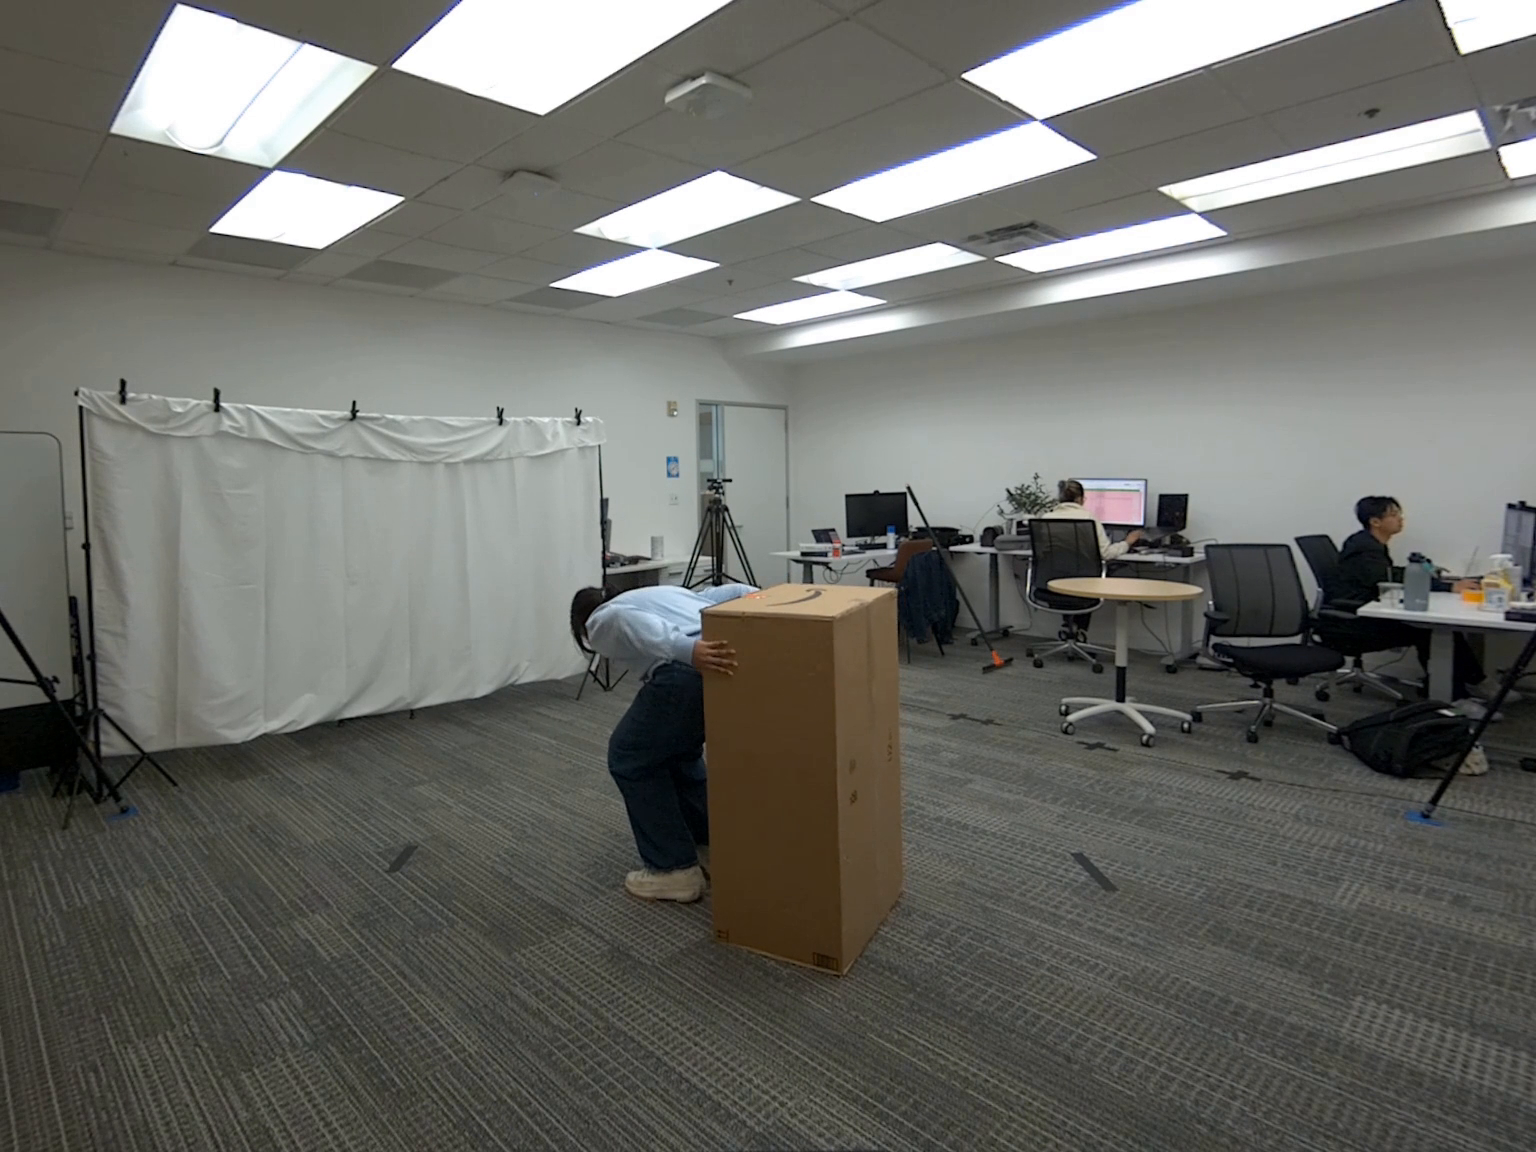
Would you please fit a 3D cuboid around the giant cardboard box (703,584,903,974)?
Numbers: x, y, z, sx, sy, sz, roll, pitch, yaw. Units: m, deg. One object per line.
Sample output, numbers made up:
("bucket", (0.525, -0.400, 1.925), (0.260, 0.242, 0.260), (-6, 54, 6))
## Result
("giant cardboard box", (0.130, 0.578, 2.695), (0.437, 1.022, 0.566), (0, 5, 28))
